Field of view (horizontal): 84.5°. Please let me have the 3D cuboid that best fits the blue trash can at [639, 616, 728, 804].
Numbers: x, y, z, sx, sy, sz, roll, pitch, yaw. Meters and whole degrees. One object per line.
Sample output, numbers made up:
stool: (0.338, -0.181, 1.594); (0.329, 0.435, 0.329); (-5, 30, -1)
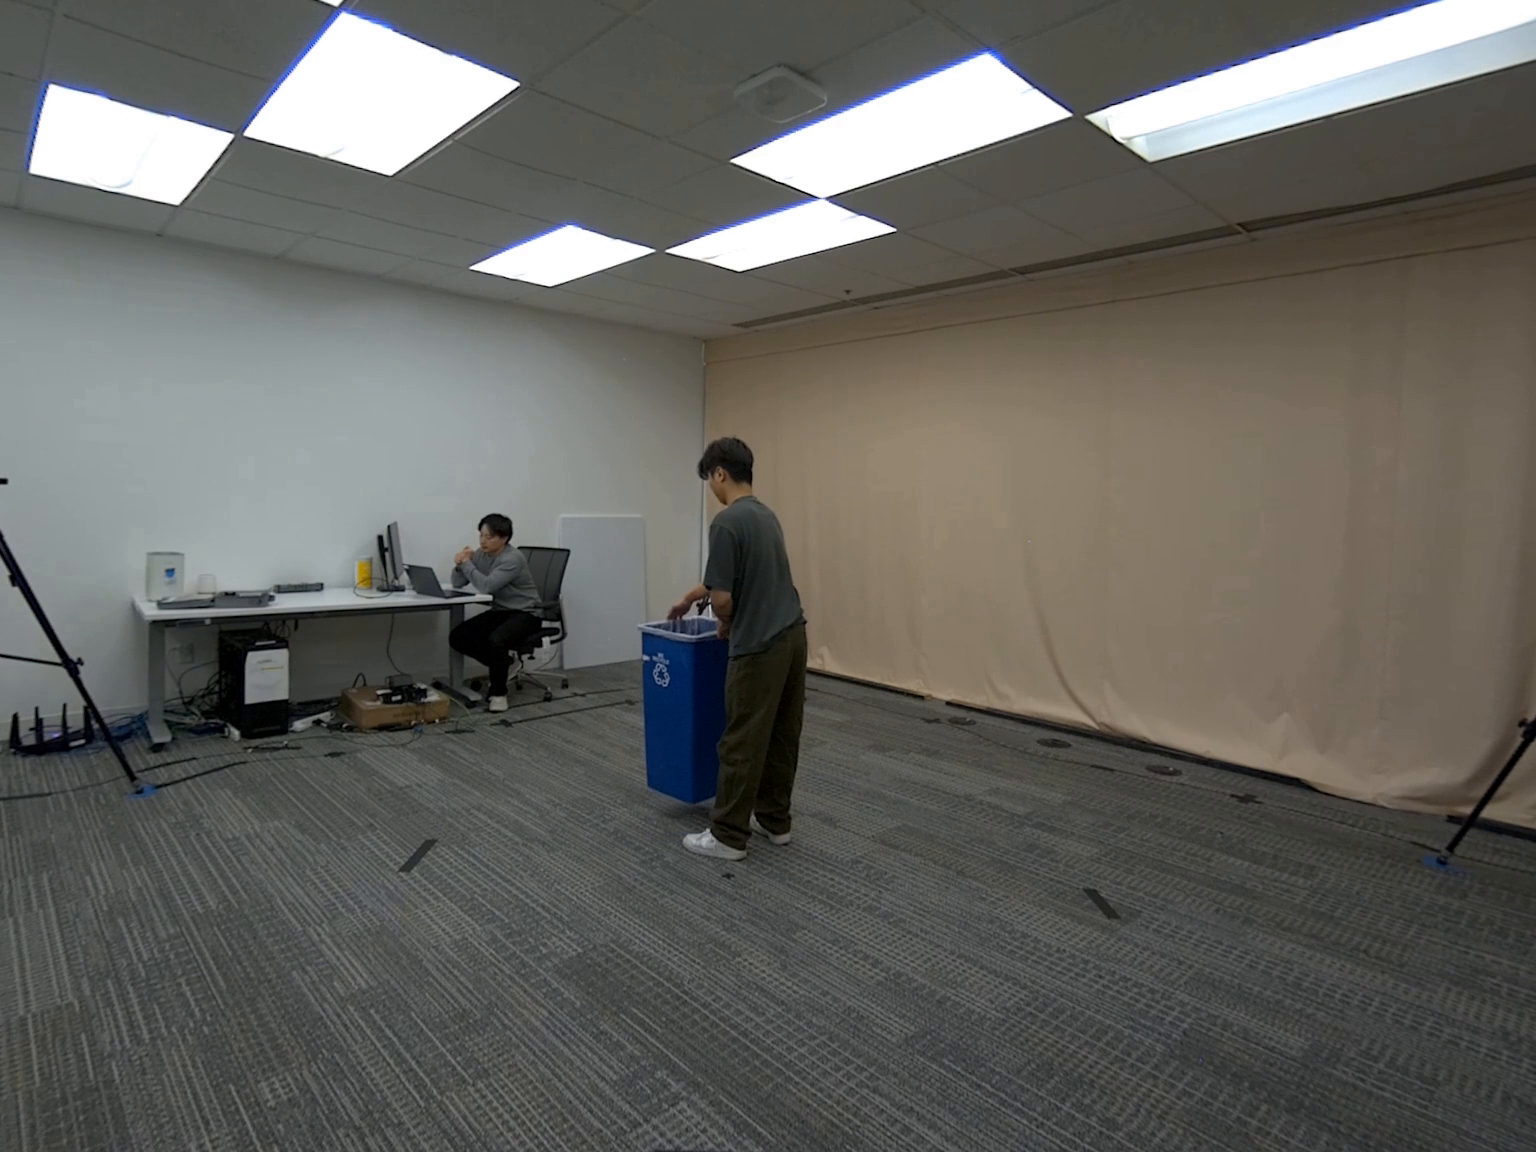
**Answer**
blue trash can: (-0.321, 0.572, 3.658); (0.383, 0.711, 0.370); (4, 7, 43)
